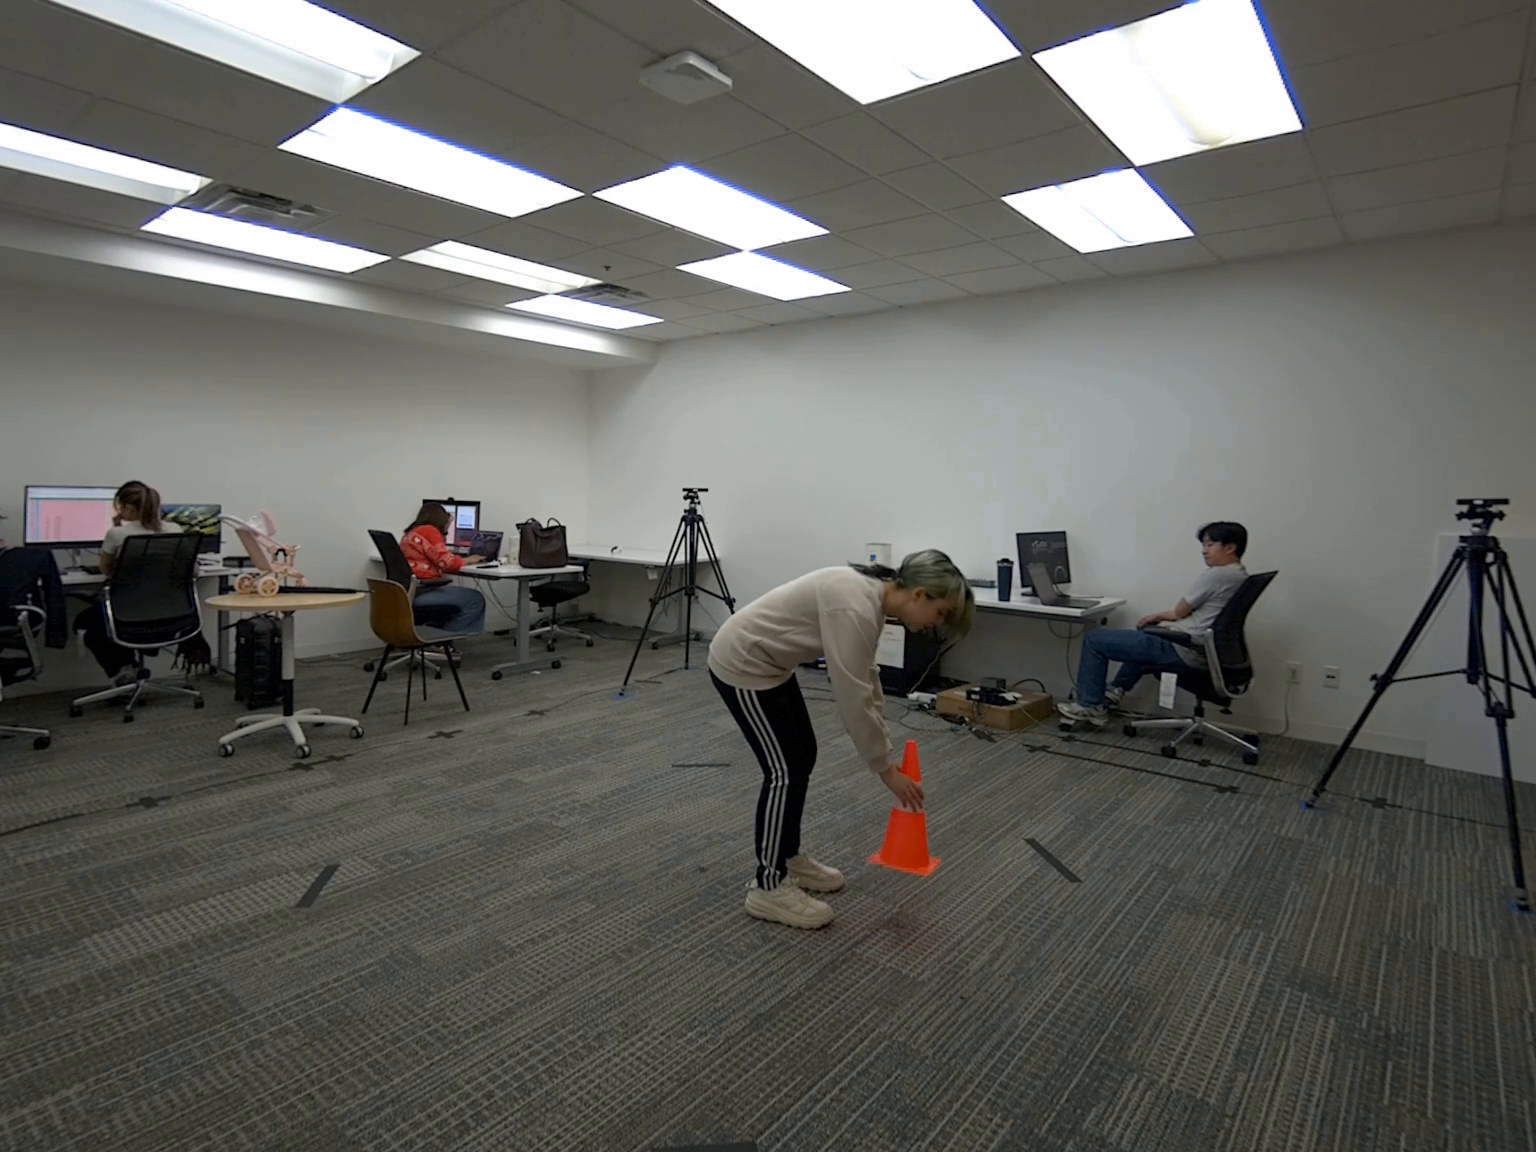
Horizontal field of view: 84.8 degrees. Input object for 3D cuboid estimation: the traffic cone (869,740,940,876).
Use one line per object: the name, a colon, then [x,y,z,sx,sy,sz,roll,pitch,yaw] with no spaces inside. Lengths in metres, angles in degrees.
traffic cone: [0.447,0.726,2.733,0.209,0.384,0.199,2,0,33]
